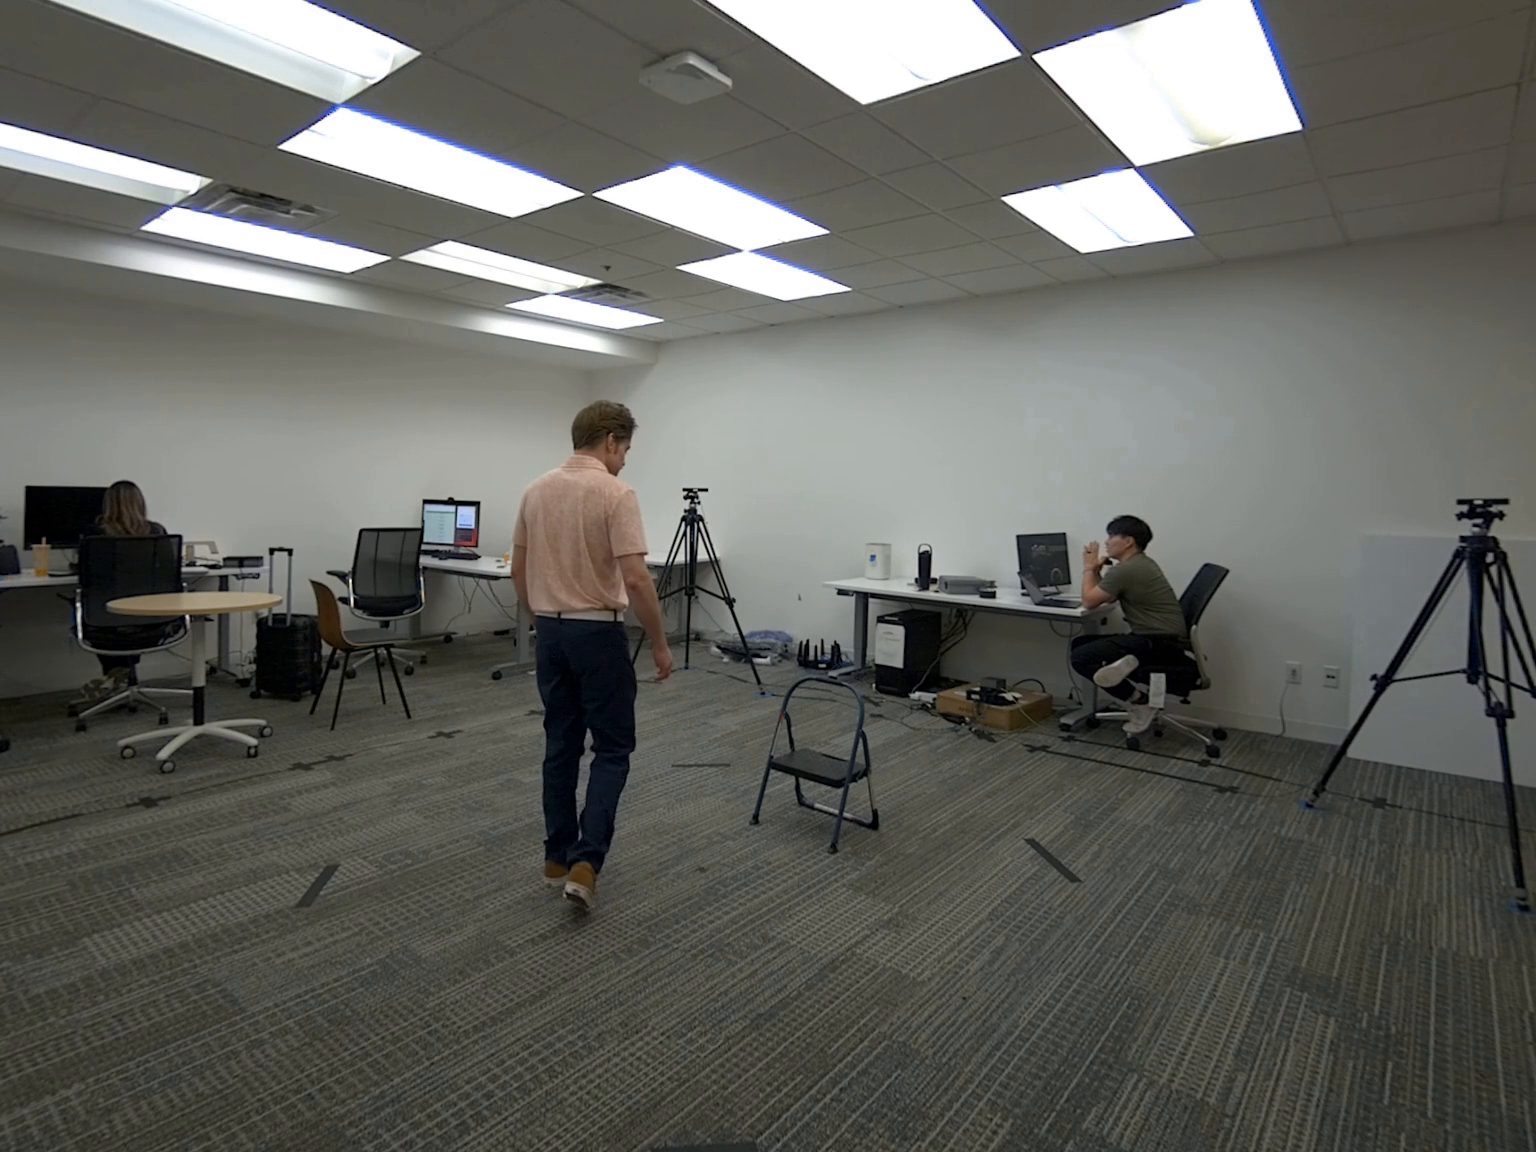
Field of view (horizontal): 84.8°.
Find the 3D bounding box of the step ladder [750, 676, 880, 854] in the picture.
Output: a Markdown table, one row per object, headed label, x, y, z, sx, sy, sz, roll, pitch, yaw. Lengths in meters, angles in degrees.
| label | x | y | z | sx | sy | sz | roll | pitch | yaw |
| --- | --- | --- | --- | --- | --- | --- | --- | --- | --- |
| step ladder | 0.195 | 0.743 | 3.521 | 0.445 | 0.604 | 0.339 | 6 | 5 | 40 |
